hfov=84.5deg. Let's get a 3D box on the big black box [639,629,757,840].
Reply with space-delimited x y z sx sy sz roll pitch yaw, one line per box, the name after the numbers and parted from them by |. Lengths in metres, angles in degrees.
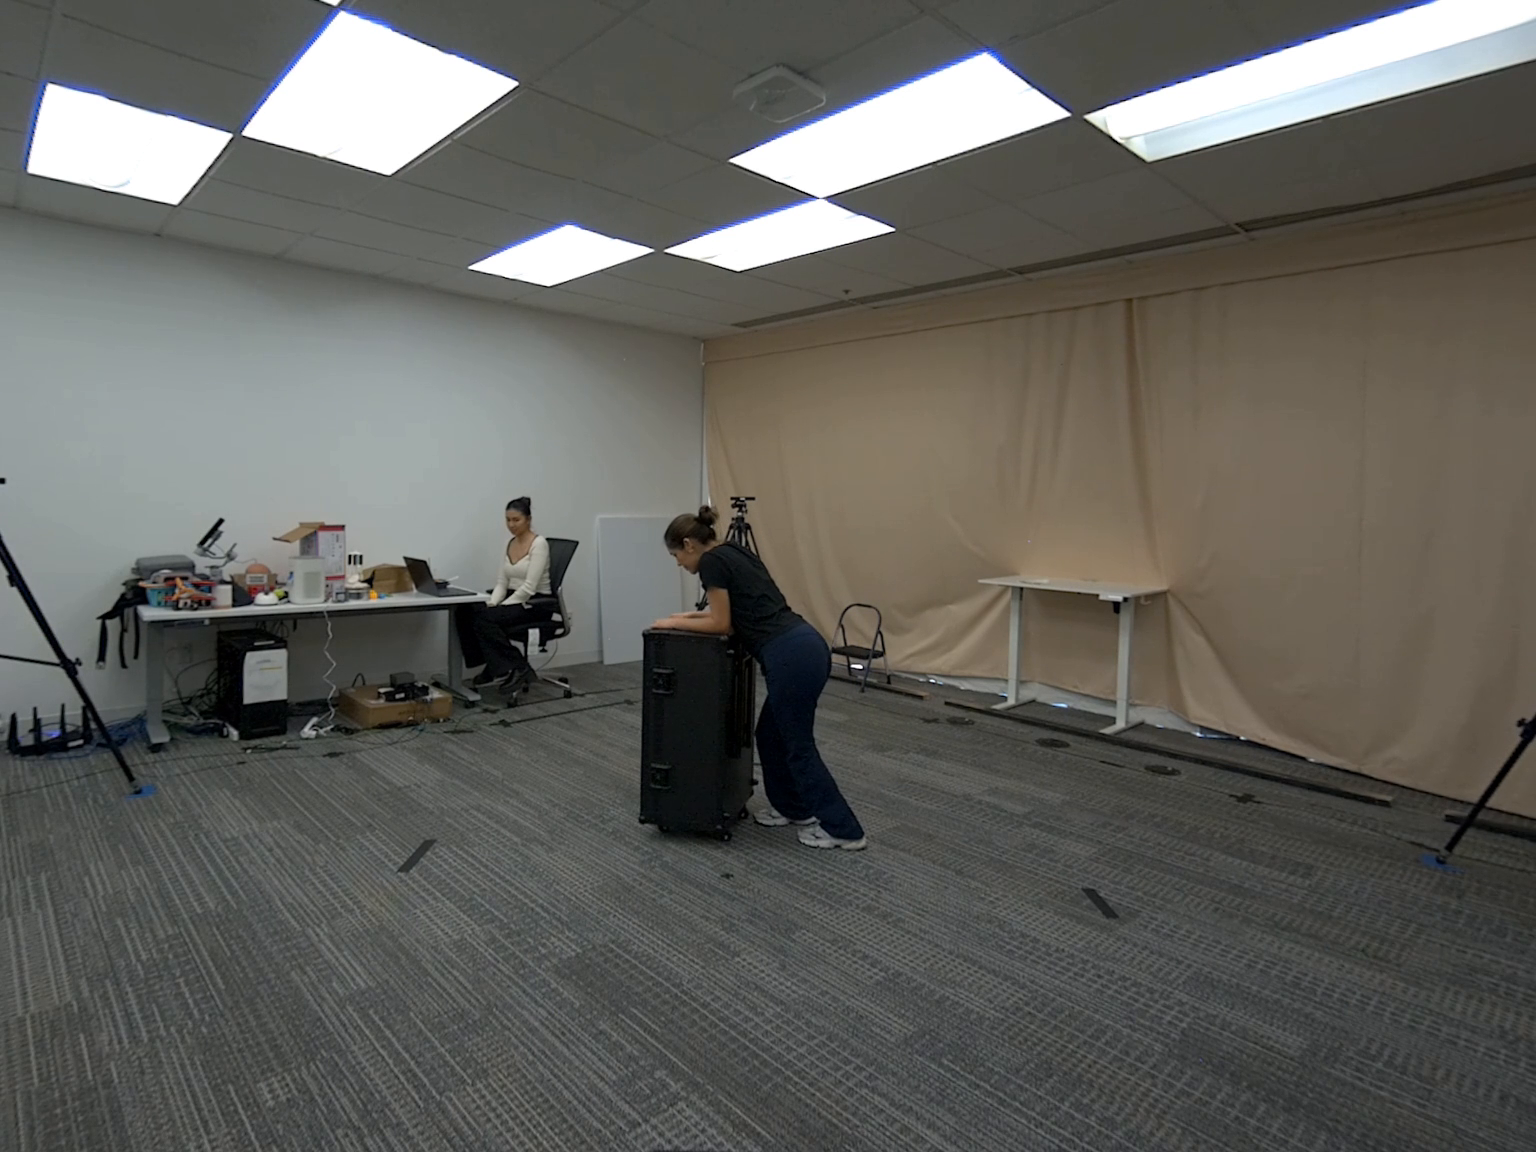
-0.279 0.577 3.552 0.401 0.860 0.516 1 3 14 | big black box
